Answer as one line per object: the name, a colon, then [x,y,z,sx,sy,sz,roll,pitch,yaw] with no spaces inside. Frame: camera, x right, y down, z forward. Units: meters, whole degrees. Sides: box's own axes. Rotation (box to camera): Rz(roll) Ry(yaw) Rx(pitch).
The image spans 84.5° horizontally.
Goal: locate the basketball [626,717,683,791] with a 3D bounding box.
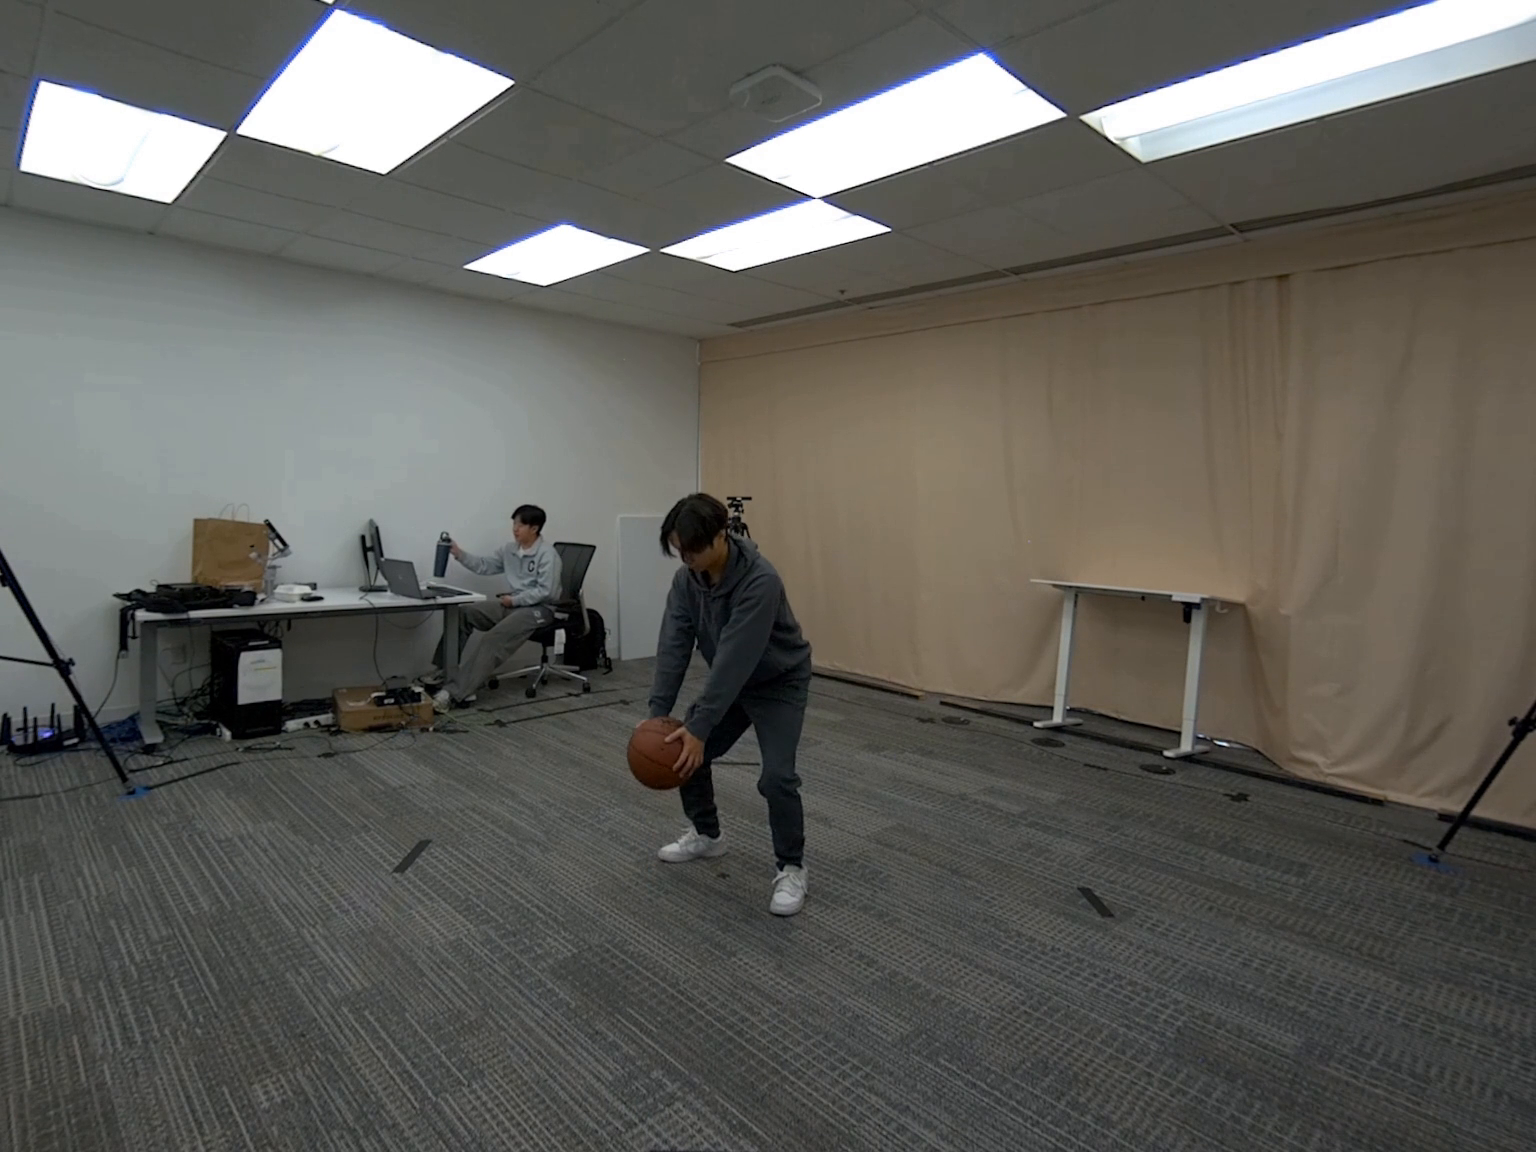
basketball: [-0.360,0.593,2.801,0.236,0.235,0.237,1,4,-1]
